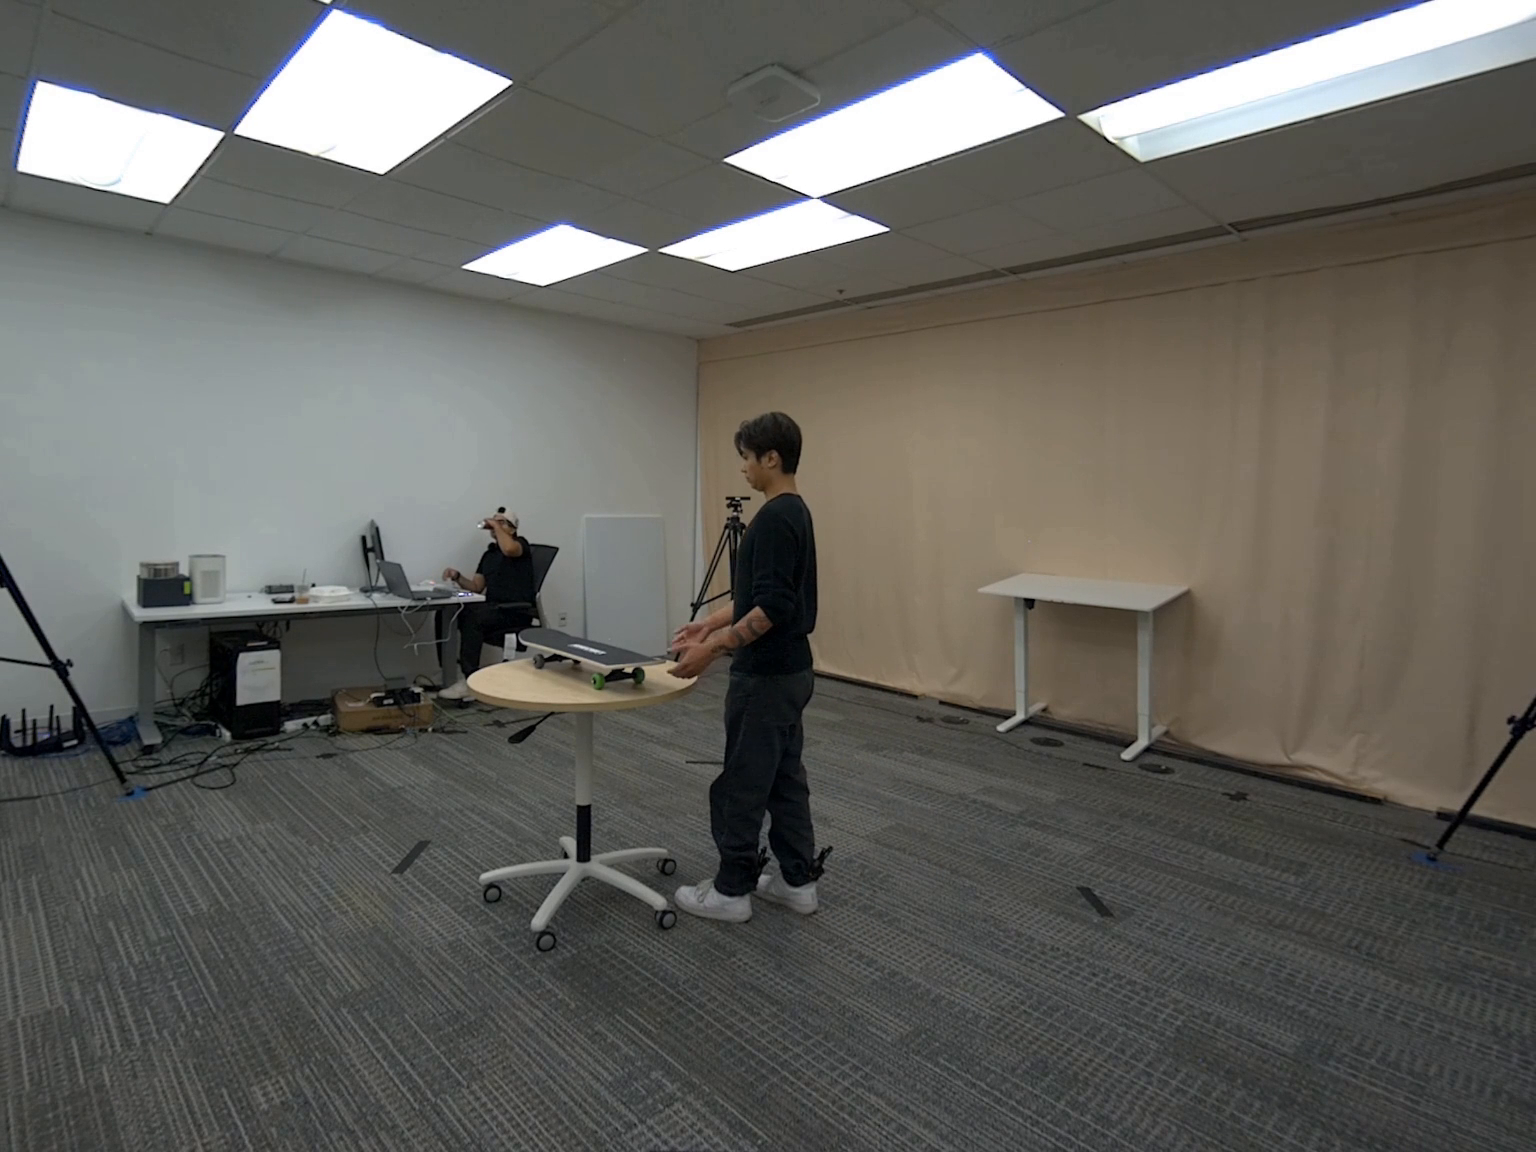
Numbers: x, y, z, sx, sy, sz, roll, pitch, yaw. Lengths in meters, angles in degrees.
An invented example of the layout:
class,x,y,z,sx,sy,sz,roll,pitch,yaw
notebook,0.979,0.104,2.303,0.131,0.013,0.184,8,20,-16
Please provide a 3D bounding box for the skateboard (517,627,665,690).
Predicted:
class,x,y,z,sx,sy,sz,roll,pitch,yaw
skateboard,-0.621,0.286,2.860,0.189,0.110,0.806,-4,8,-42
